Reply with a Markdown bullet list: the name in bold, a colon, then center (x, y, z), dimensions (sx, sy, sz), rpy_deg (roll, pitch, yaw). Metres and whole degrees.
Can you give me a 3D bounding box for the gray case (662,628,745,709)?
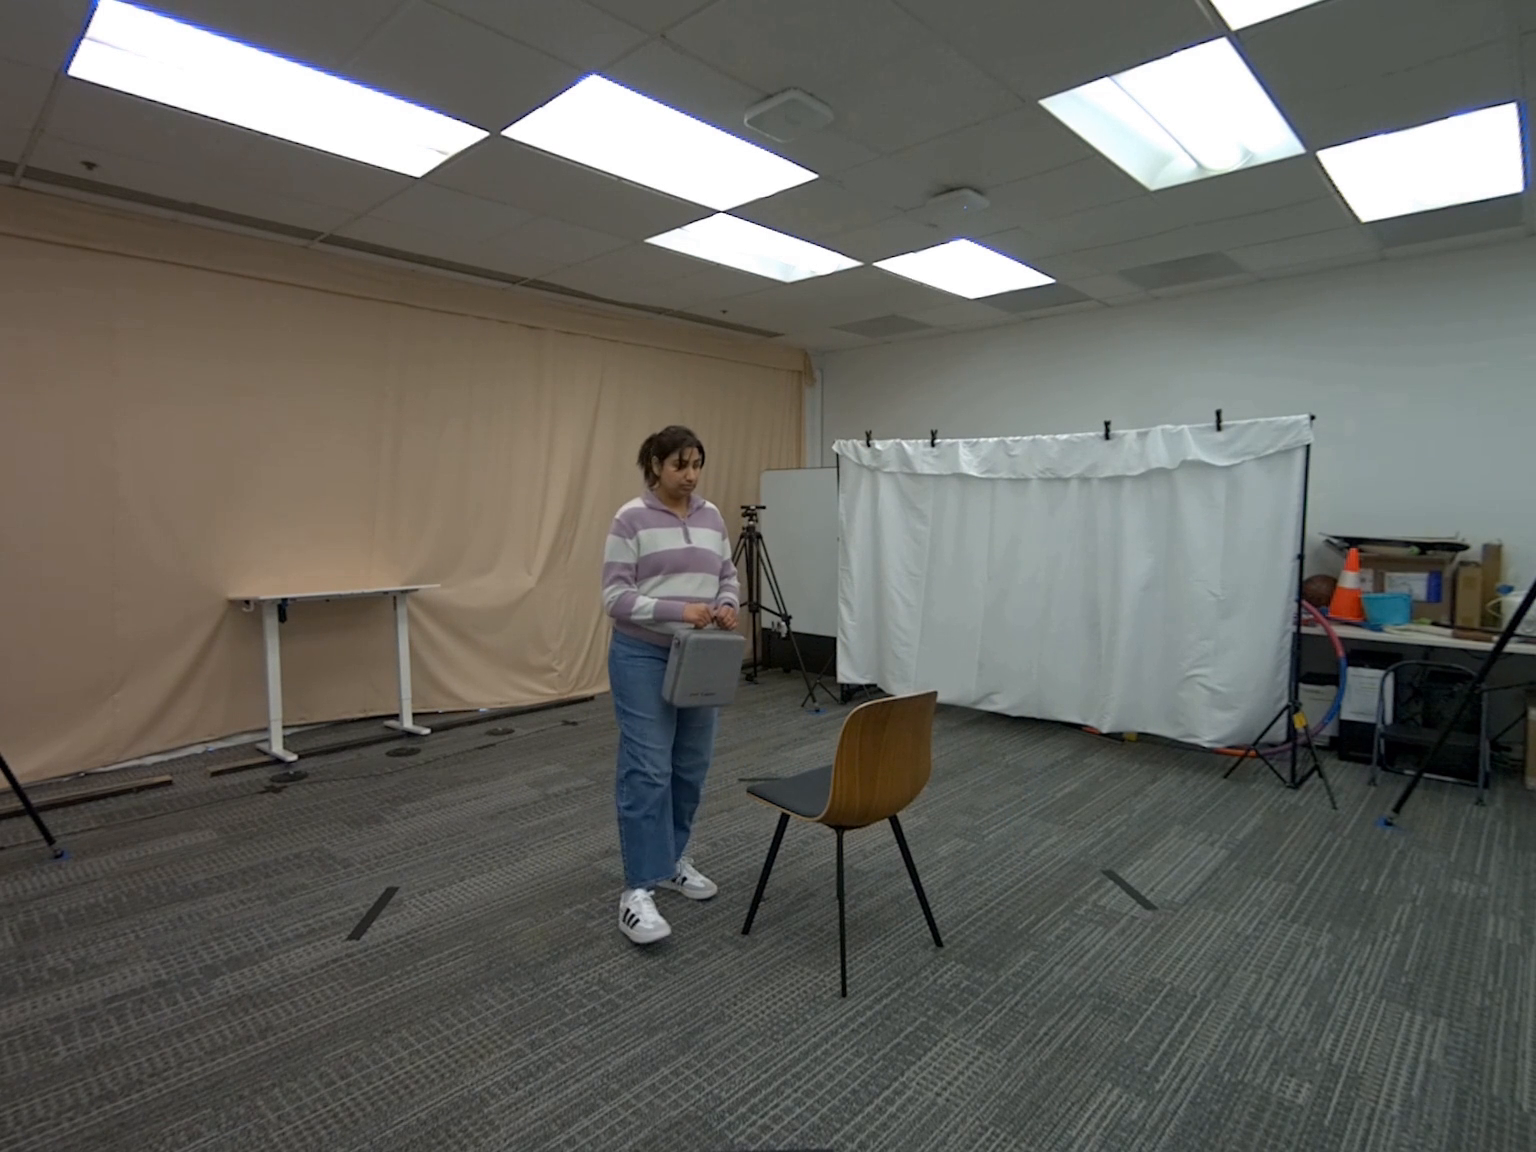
- **gray case**: center (-0.212, 0.295, 2.774), dimensions (0.248, 0.260, 0.108), rpy_deg (7, 8, -42)
